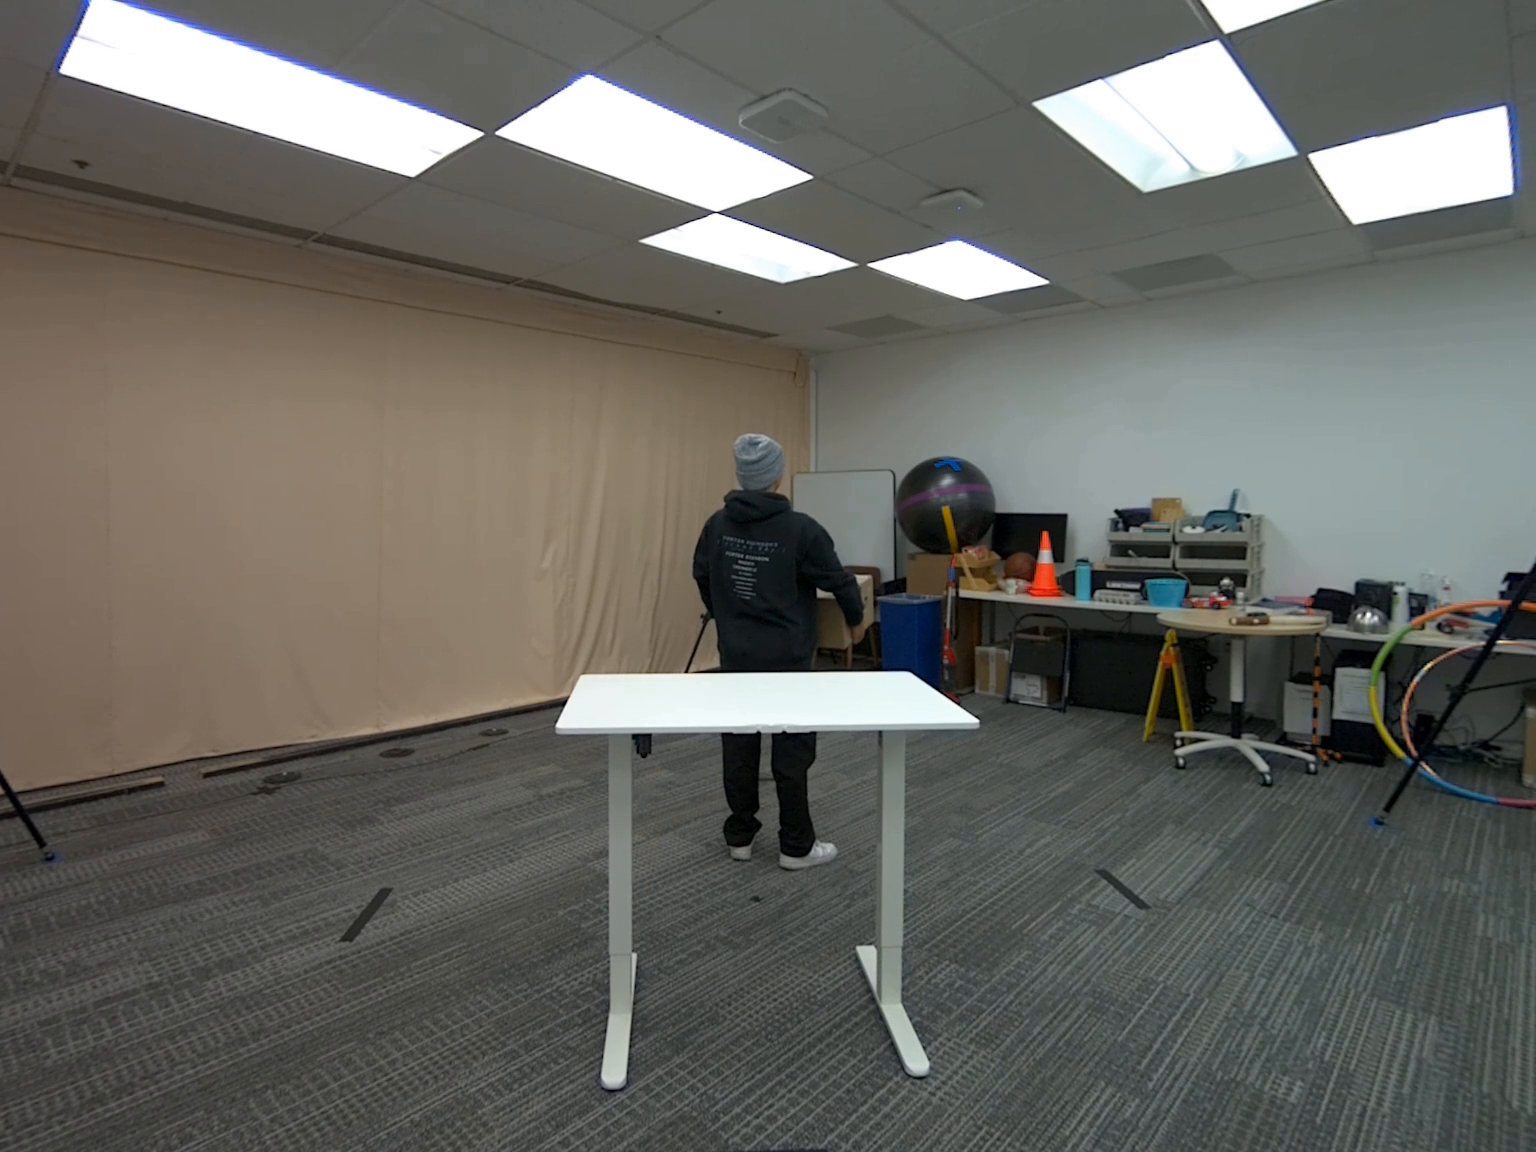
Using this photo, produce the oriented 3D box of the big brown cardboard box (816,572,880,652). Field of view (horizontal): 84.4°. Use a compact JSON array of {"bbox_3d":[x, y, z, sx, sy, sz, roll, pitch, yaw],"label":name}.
[{"bbox_3d":[0.129,0.137,3.679,0.604,0.231,0.410,0,12,26],"label":"big brown cardboard box"}]
